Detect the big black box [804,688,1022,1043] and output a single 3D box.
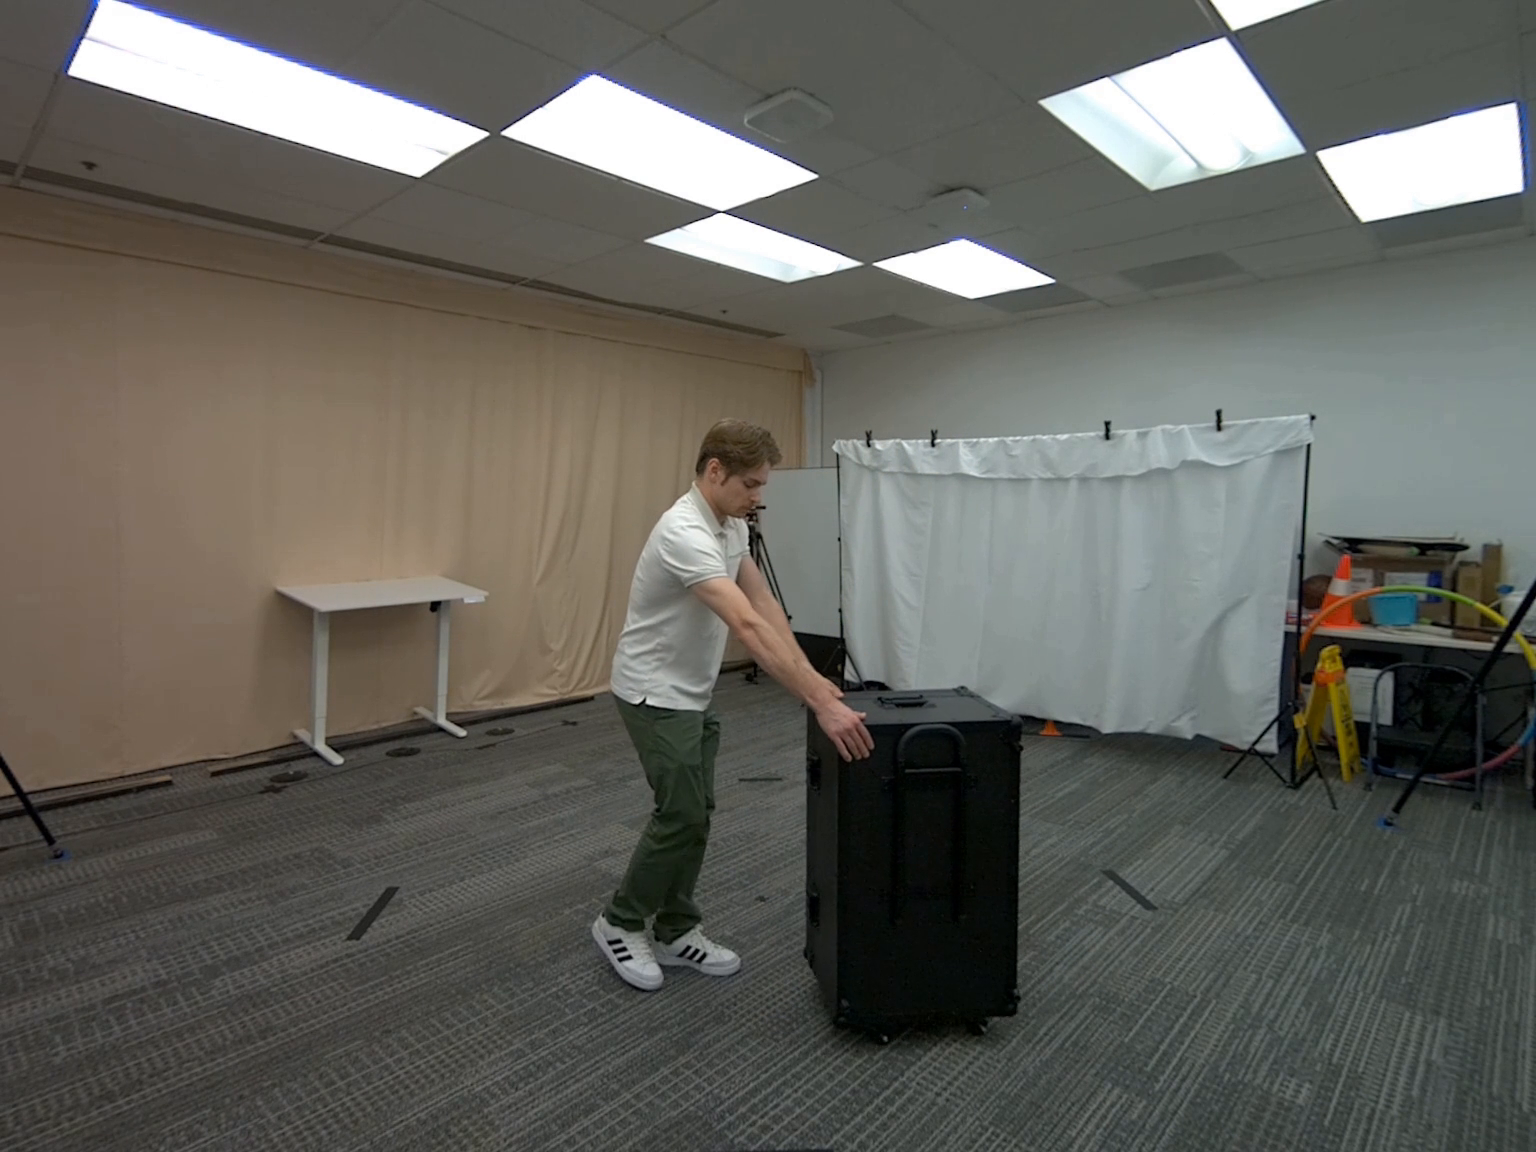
[{"bbox_3d":[0.389,0.782,2.297,0.519,0.866,0.389,-1,4,-8],"label":"big black box"}]
